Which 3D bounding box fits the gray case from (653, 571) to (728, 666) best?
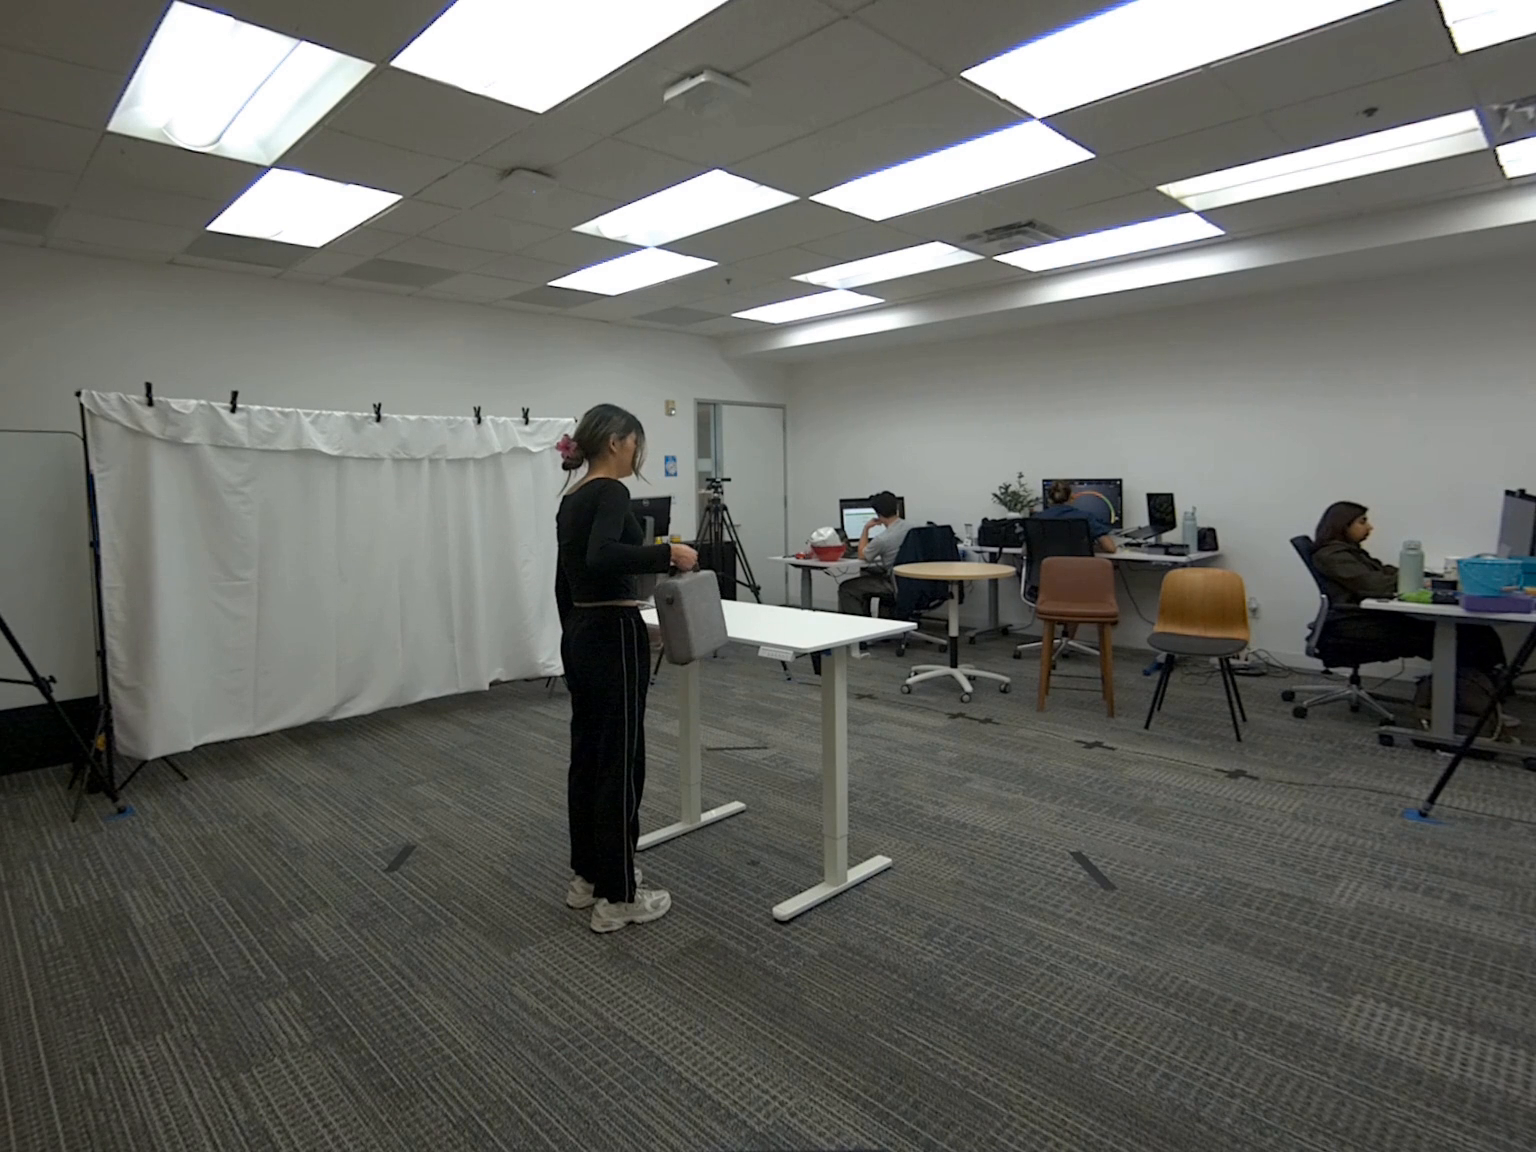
[{"bbox_3d":[-0.231,0.120,2.630,0.106,0.259,0.253,-10,5,26],"label":"gray case"}]
